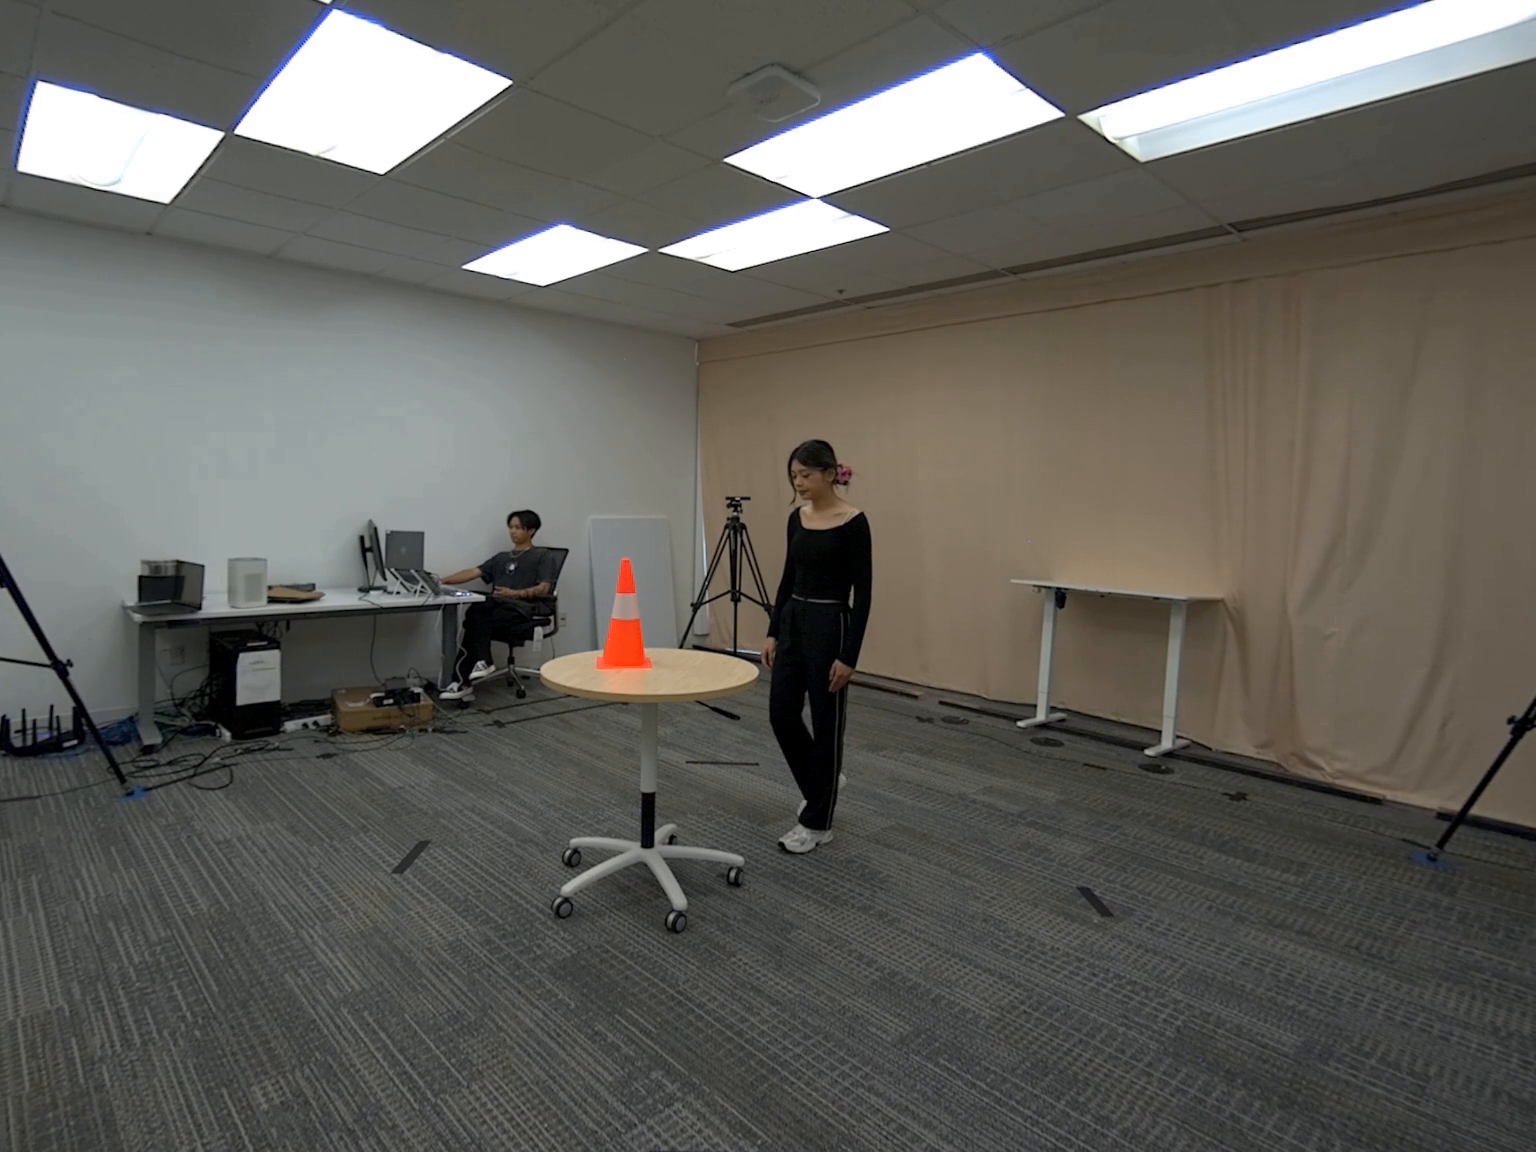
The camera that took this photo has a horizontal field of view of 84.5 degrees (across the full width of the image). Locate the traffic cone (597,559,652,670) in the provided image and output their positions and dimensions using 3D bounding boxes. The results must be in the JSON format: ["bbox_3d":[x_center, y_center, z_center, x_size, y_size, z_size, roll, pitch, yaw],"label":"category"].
[{"bbox_3d":[-0.522,0.132,3.036,0.201,0.382,0.208,1,5,-14],"label":"traffic cone"}]
